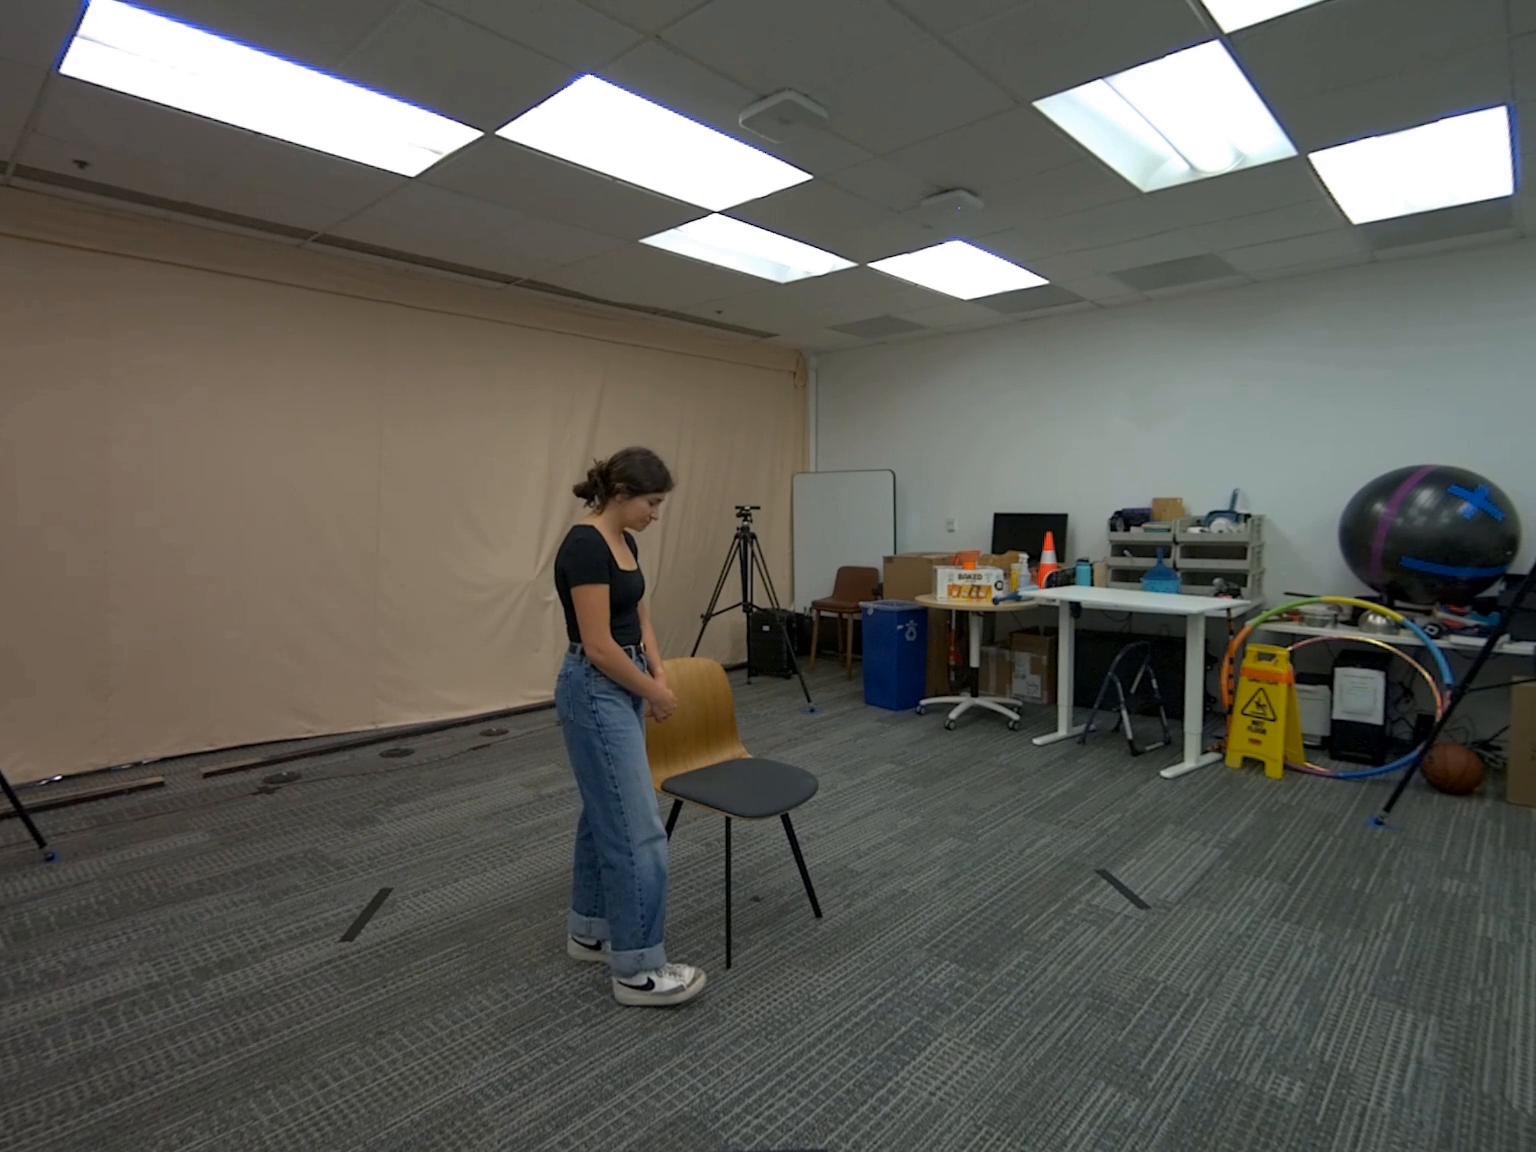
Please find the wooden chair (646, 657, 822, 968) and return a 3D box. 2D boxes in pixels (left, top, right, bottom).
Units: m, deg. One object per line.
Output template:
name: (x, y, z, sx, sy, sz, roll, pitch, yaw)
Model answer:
wooden chair: (-0.126, 0.735, 2.817, 0.539, 0.877, 0.463, -3, 1, 43)
